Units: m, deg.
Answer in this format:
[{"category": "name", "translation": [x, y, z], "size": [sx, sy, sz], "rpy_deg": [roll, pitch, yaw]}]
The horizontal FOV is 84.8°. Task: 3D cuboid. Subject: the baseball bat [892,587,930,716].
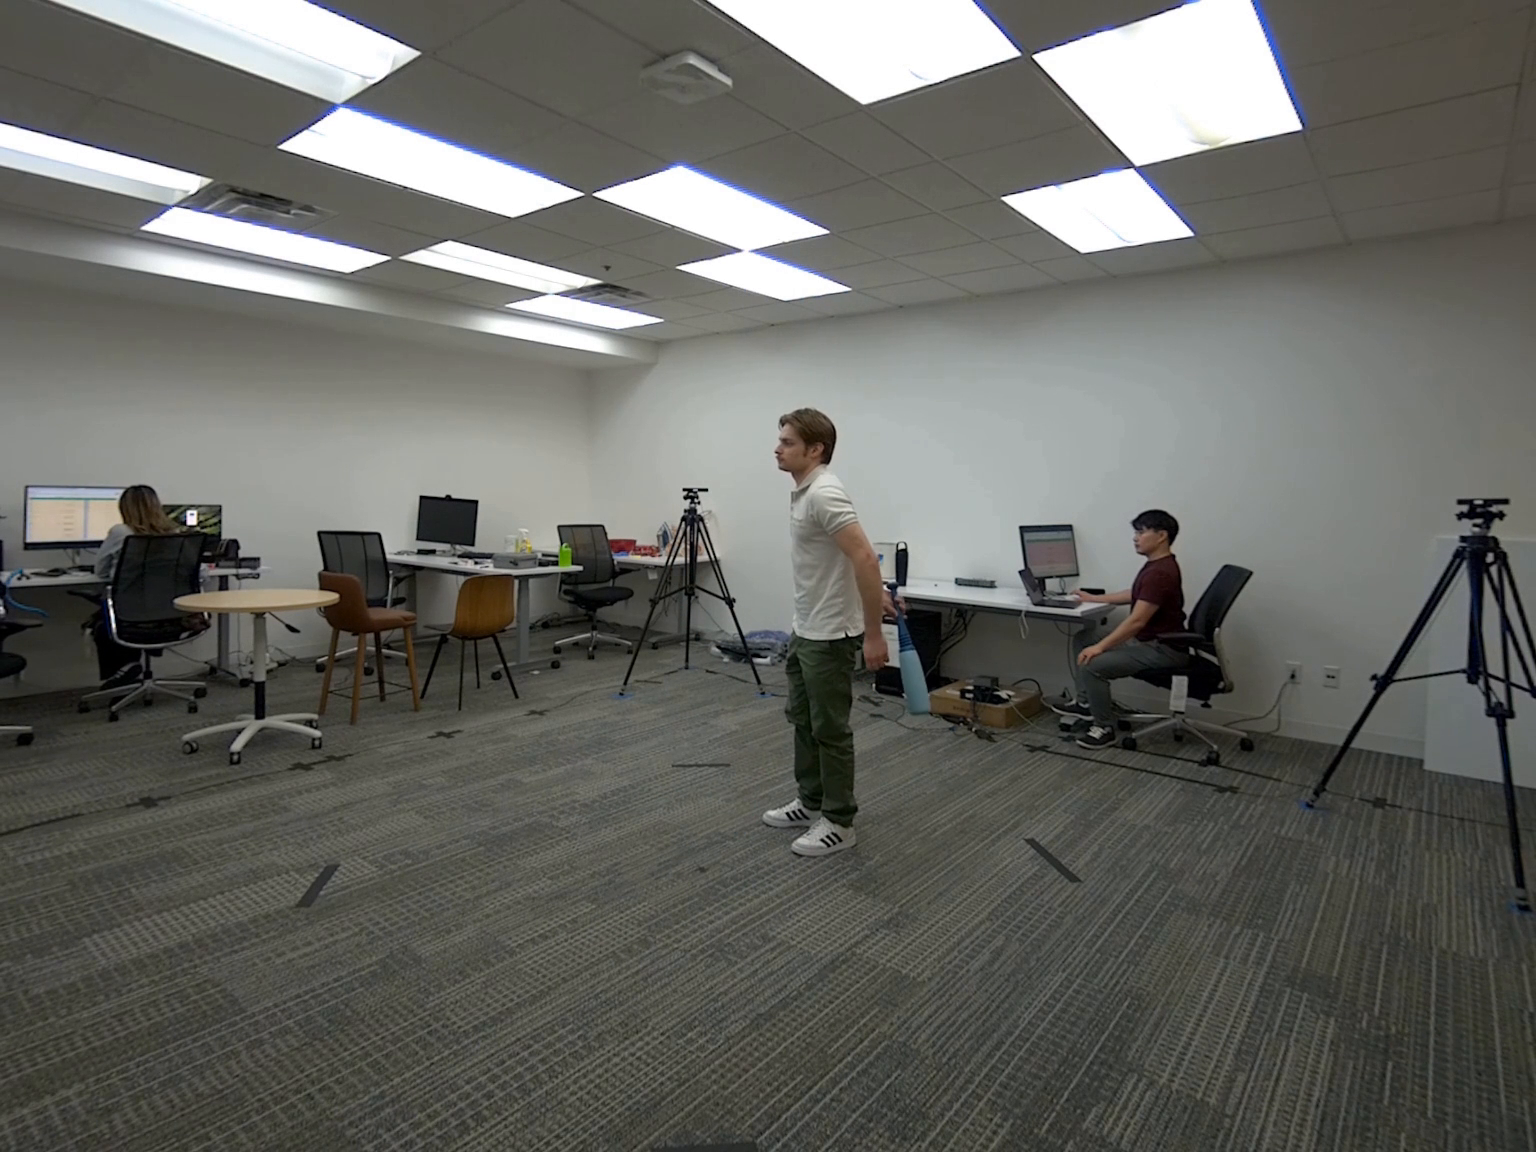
[{"category": "baseball bat", "translation": [0.551, 0.290, 3.430], "size": [0.089, 0.552, 0.088], "rpy_deg": [-9, -15, -4]}]
